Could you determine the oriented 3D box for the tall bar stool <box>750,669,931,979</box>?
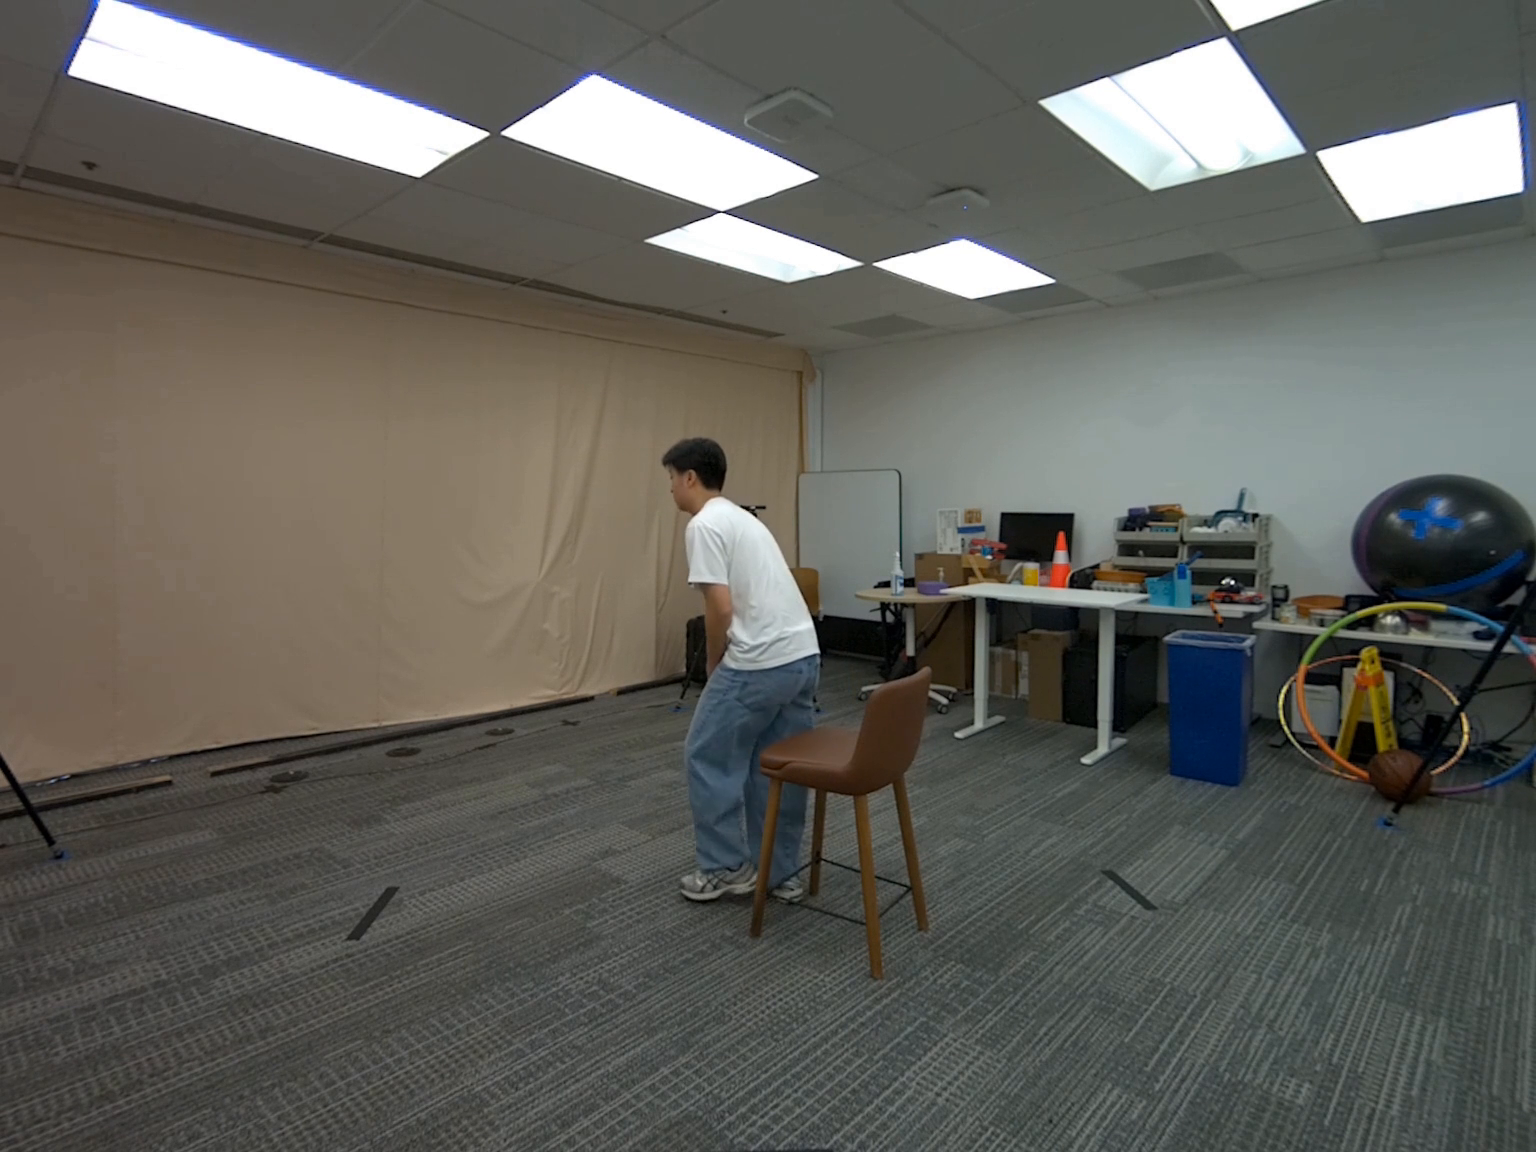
[{"bbox_3d":[0.243,0.728,2.720,0.482,0.887,0.443,4,5,34],"label":"tall bar stool"}]
